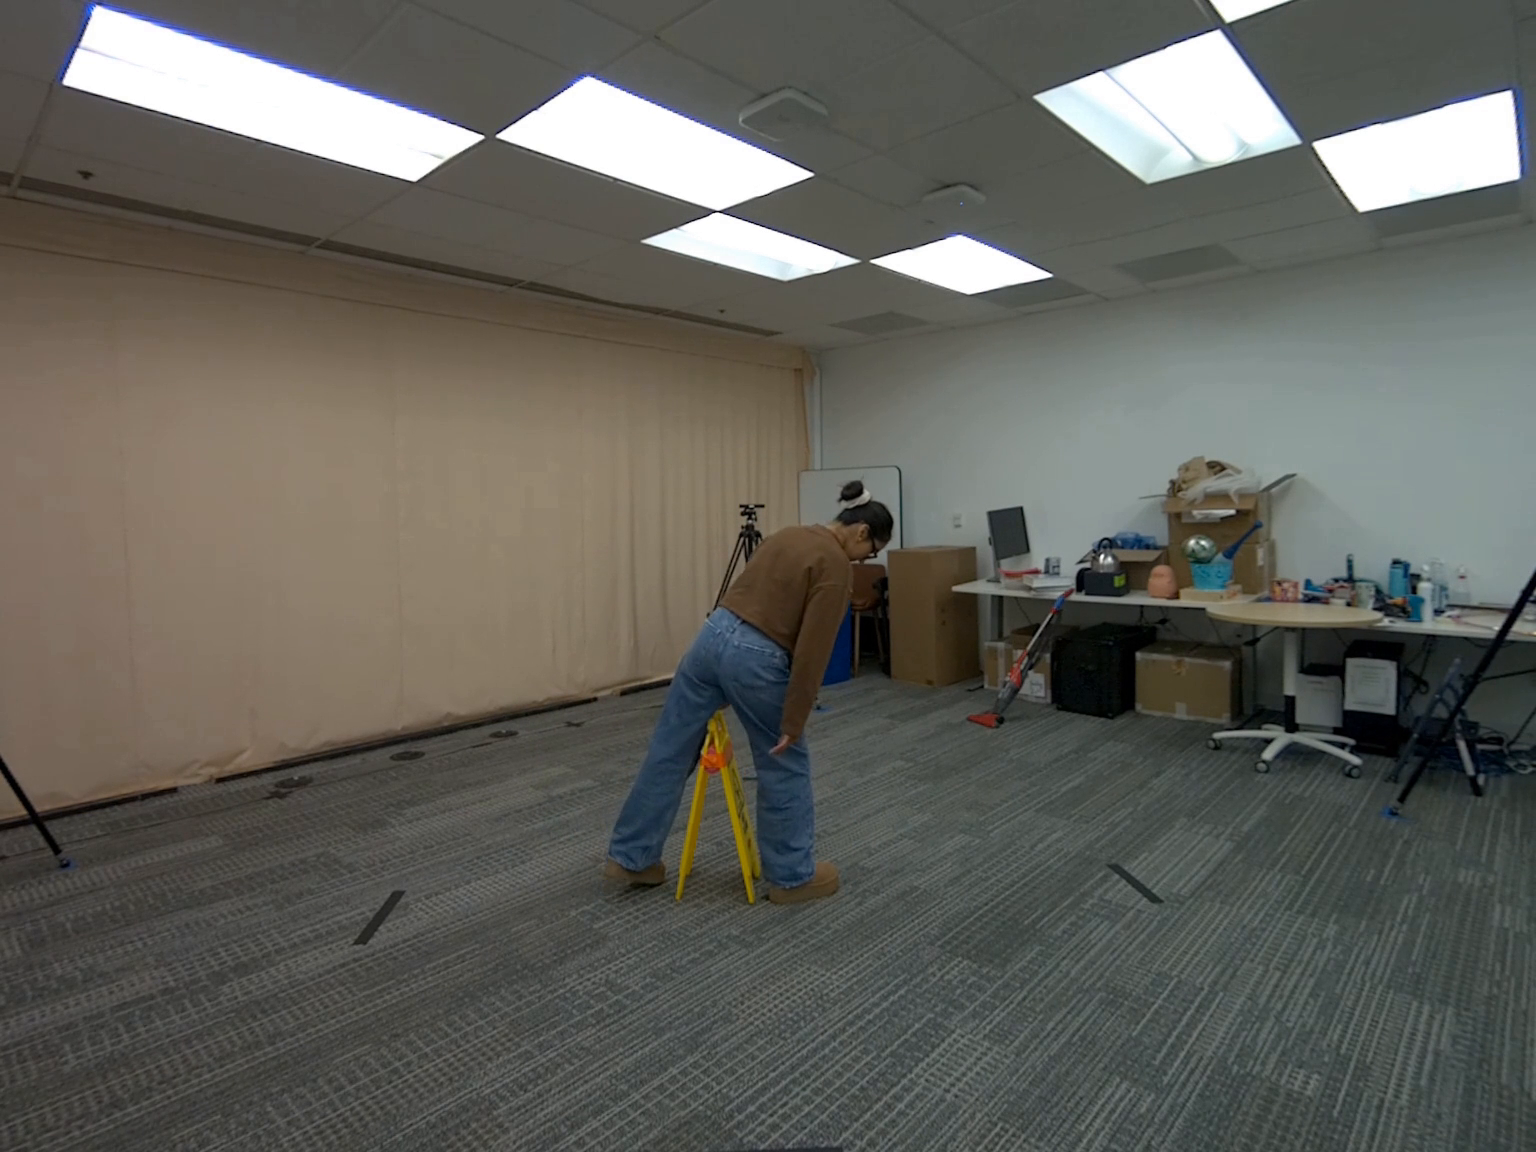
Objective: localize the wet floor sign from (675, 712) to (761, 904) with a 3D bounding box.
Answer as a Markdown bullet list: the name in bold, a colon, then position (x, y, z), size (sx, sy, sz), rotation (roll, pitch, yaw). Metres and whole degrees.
- **wet floor sign**: position (-0.188, 0.824, 3.065), size (0.292, 0.645, 0.280), rotation (-1, 3, 7)
